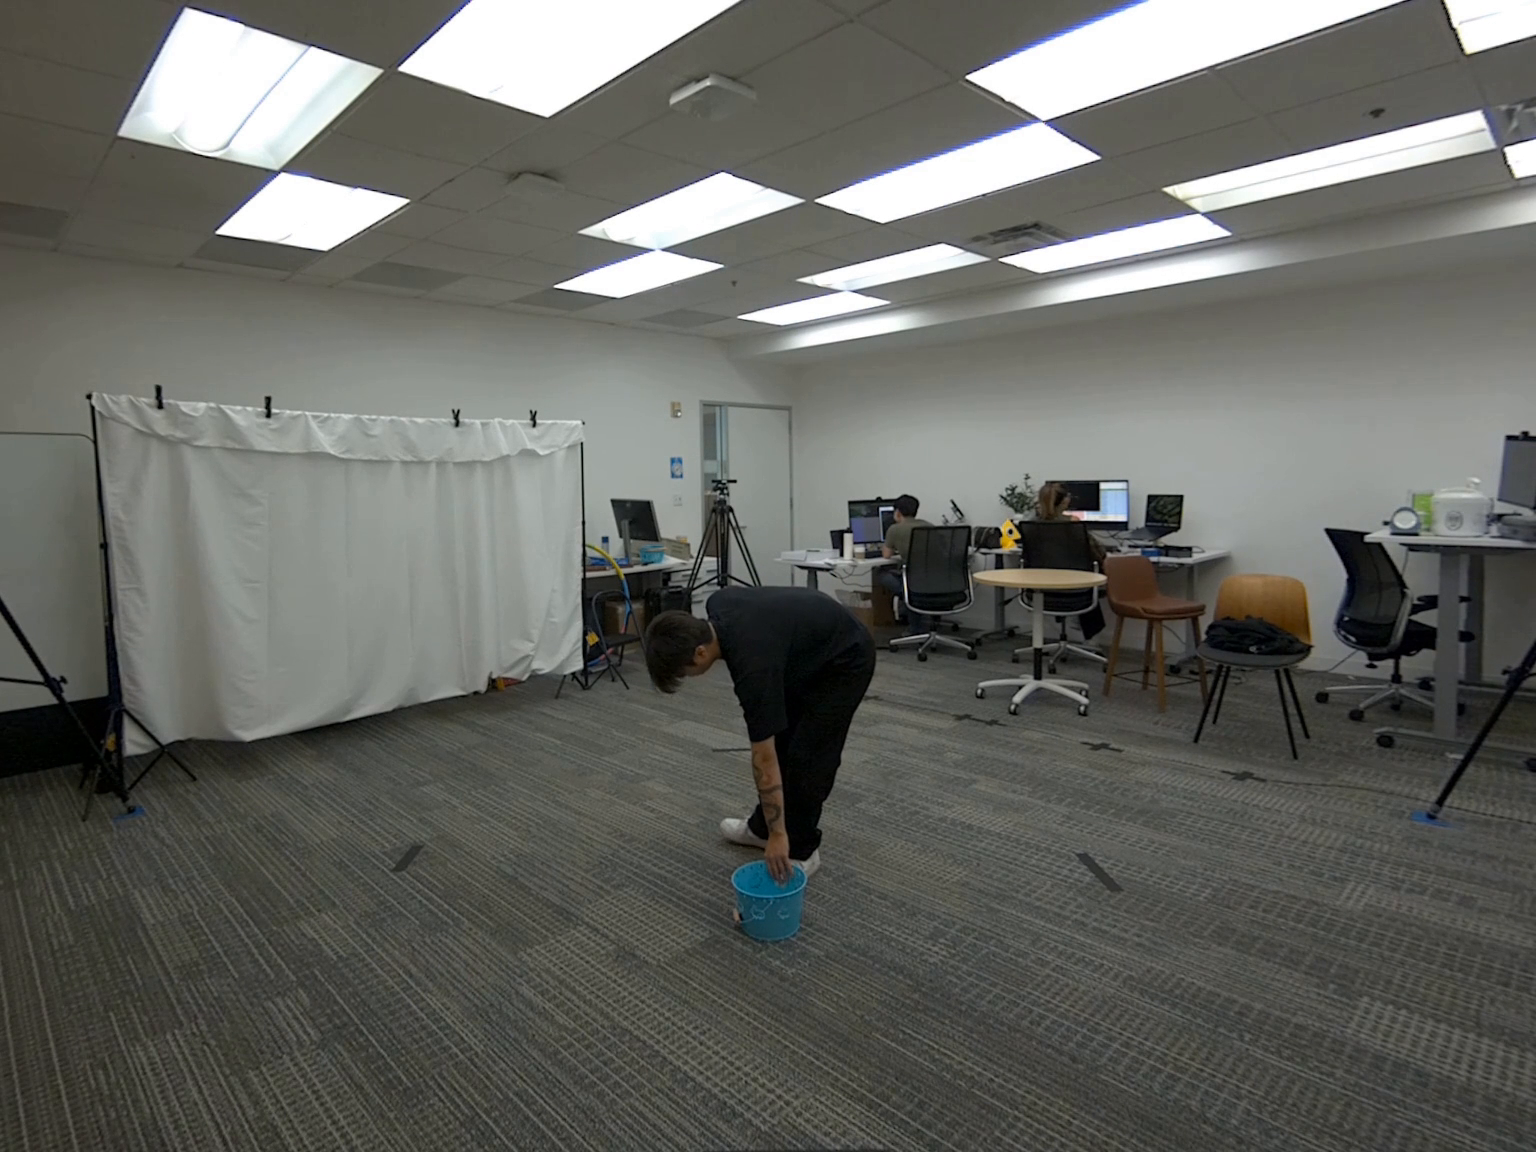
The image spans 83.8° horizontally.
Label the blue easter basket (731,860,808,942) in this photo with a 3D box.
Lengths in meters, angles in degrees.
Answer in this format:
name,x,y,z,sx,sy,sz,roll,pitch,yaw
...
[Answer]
name,x,y,z,sx,sy,sz,roll,pitch,yaw
blue easter basket,0.012,1.020,2.668,0.243,0.155,0.245,-2,8,-1
